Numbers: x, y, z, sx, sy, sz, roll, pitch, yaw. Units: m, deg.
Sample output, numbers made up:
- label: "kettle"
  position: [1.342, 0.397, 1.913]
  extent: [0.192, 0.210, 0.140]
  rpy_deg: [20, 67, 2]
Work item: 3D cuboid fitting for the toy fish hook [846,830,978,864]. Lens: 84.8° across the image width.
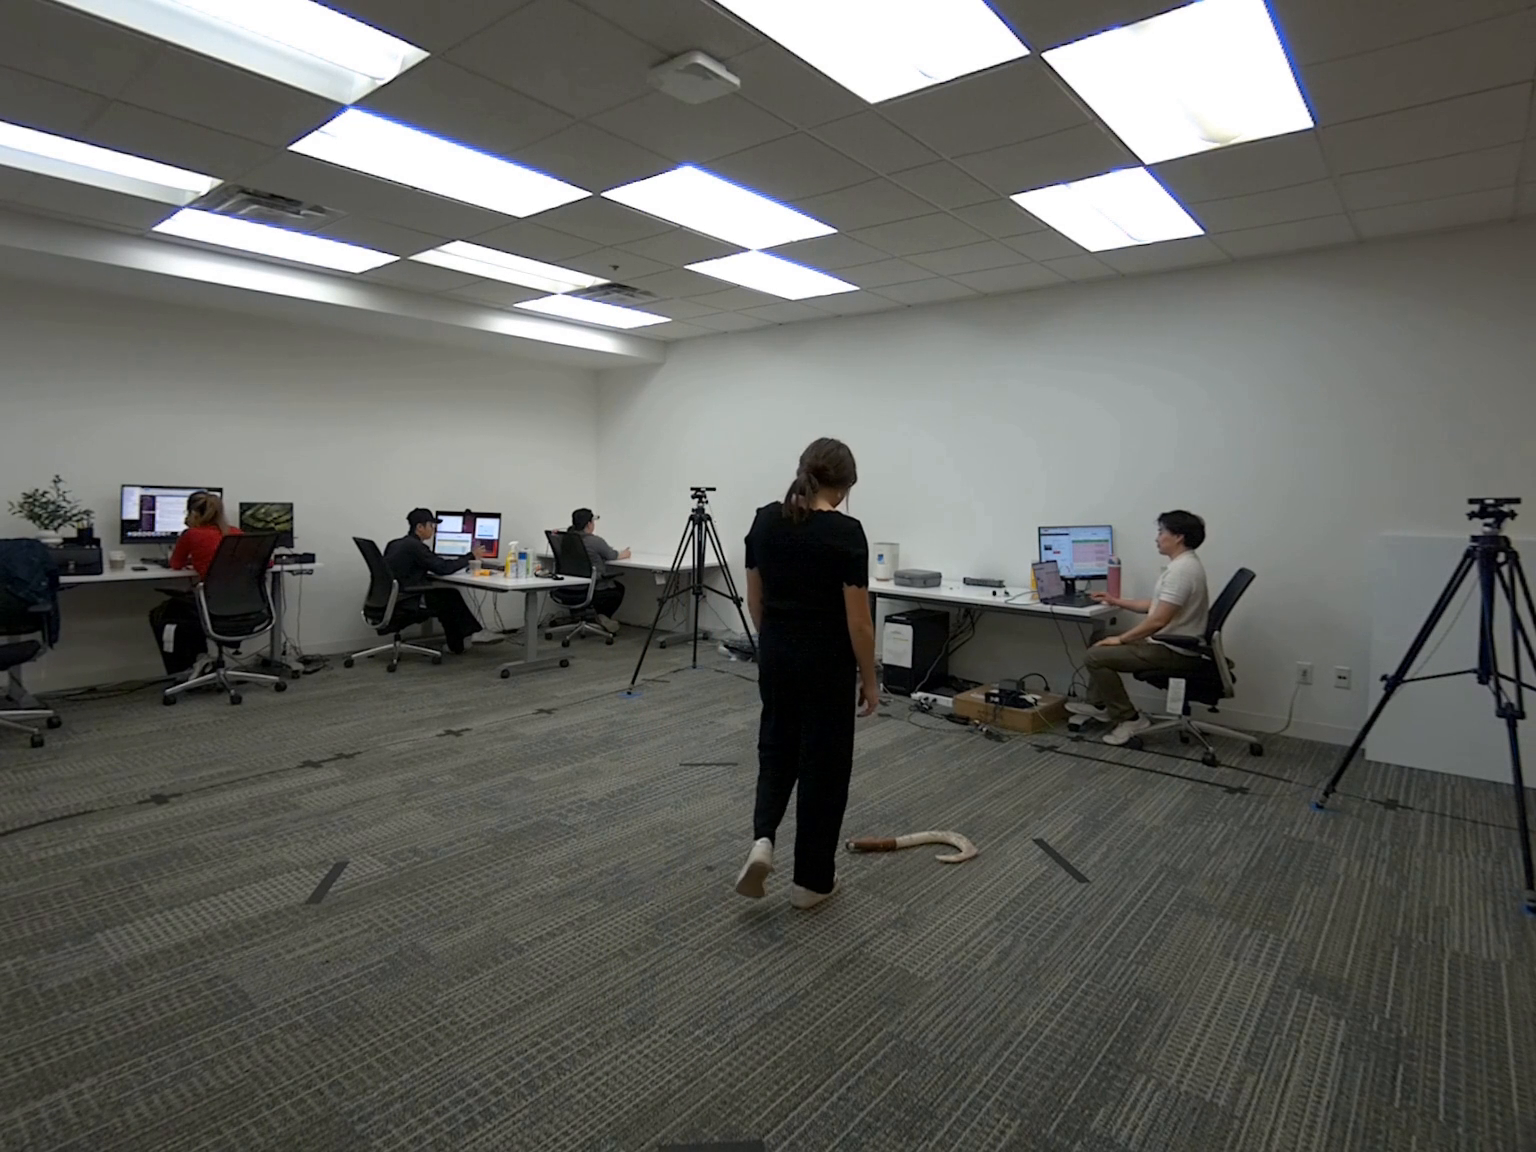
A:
- label: "toy fish hook"
  position: [0.549, 1.041, 3.281]
  extent: [0.500, 0.048, 0.228]
  rpy_deg: [0, 5, -13]
